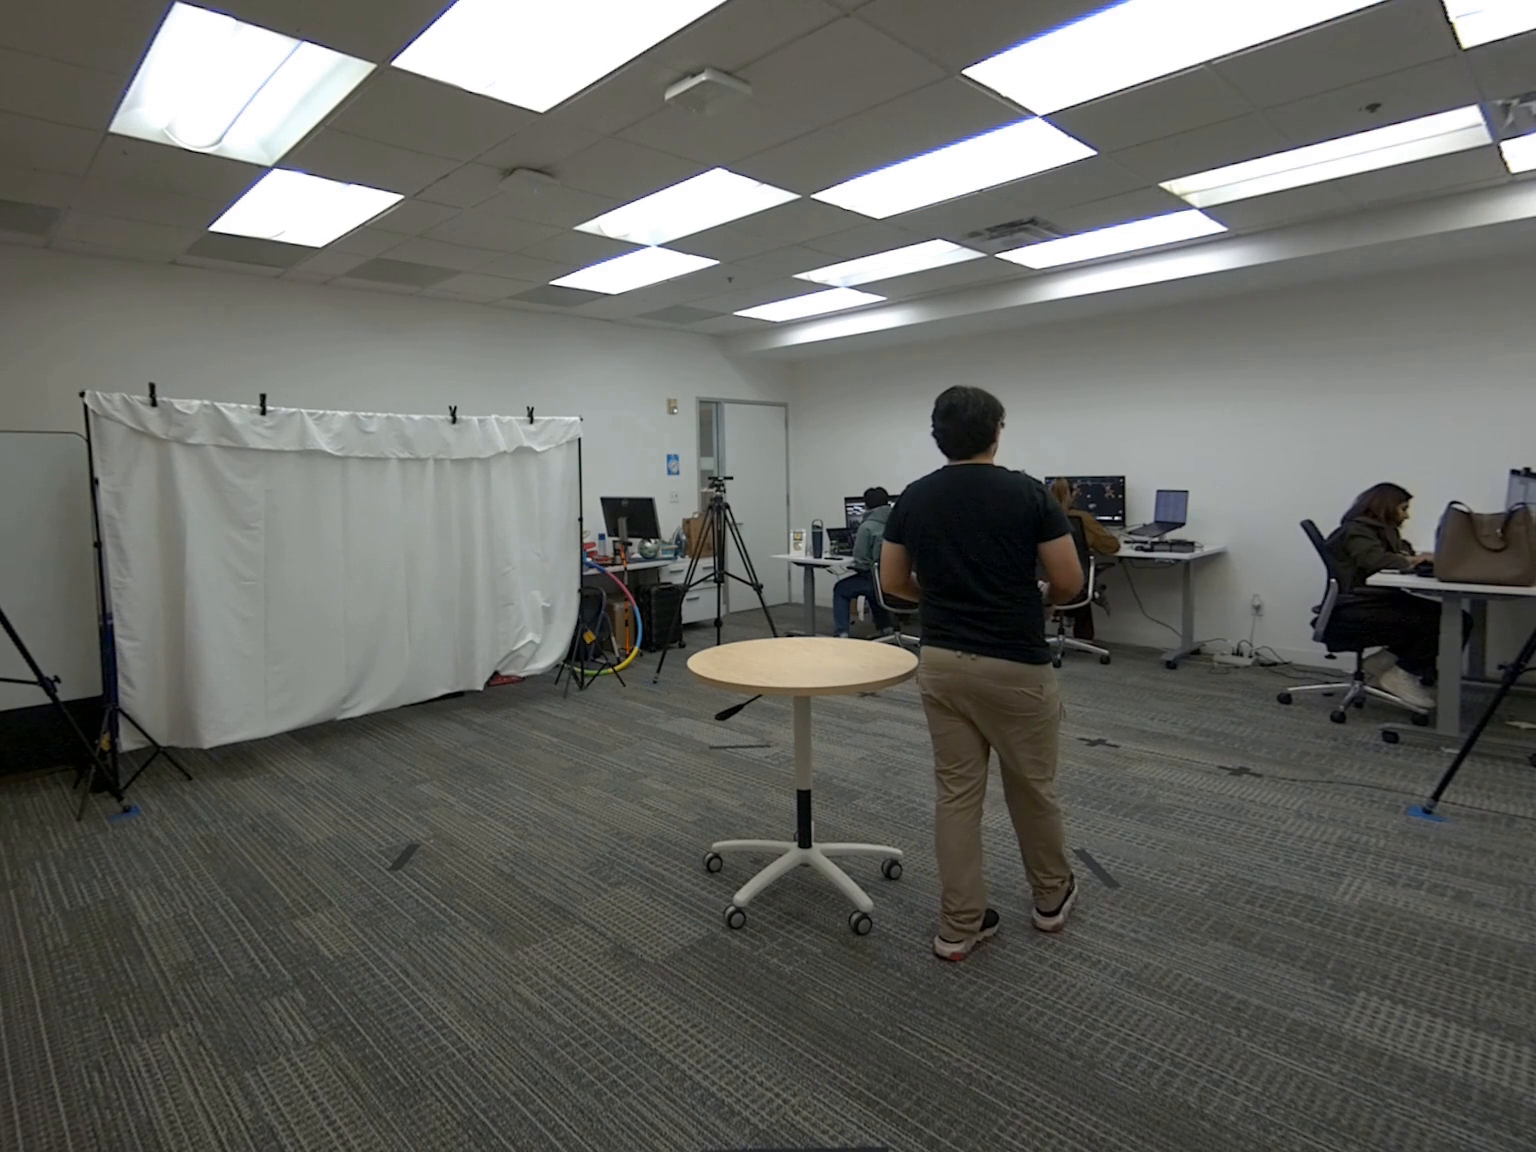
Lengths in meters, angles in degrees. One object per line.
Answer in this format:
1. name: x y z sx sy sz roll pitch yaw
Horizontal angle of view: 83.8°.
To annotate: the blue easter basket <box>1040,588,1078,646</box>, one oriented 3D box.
1. blue easter basket: 0.822 0.127 2.762 0.243 0.155 0.244 0 3 -2
